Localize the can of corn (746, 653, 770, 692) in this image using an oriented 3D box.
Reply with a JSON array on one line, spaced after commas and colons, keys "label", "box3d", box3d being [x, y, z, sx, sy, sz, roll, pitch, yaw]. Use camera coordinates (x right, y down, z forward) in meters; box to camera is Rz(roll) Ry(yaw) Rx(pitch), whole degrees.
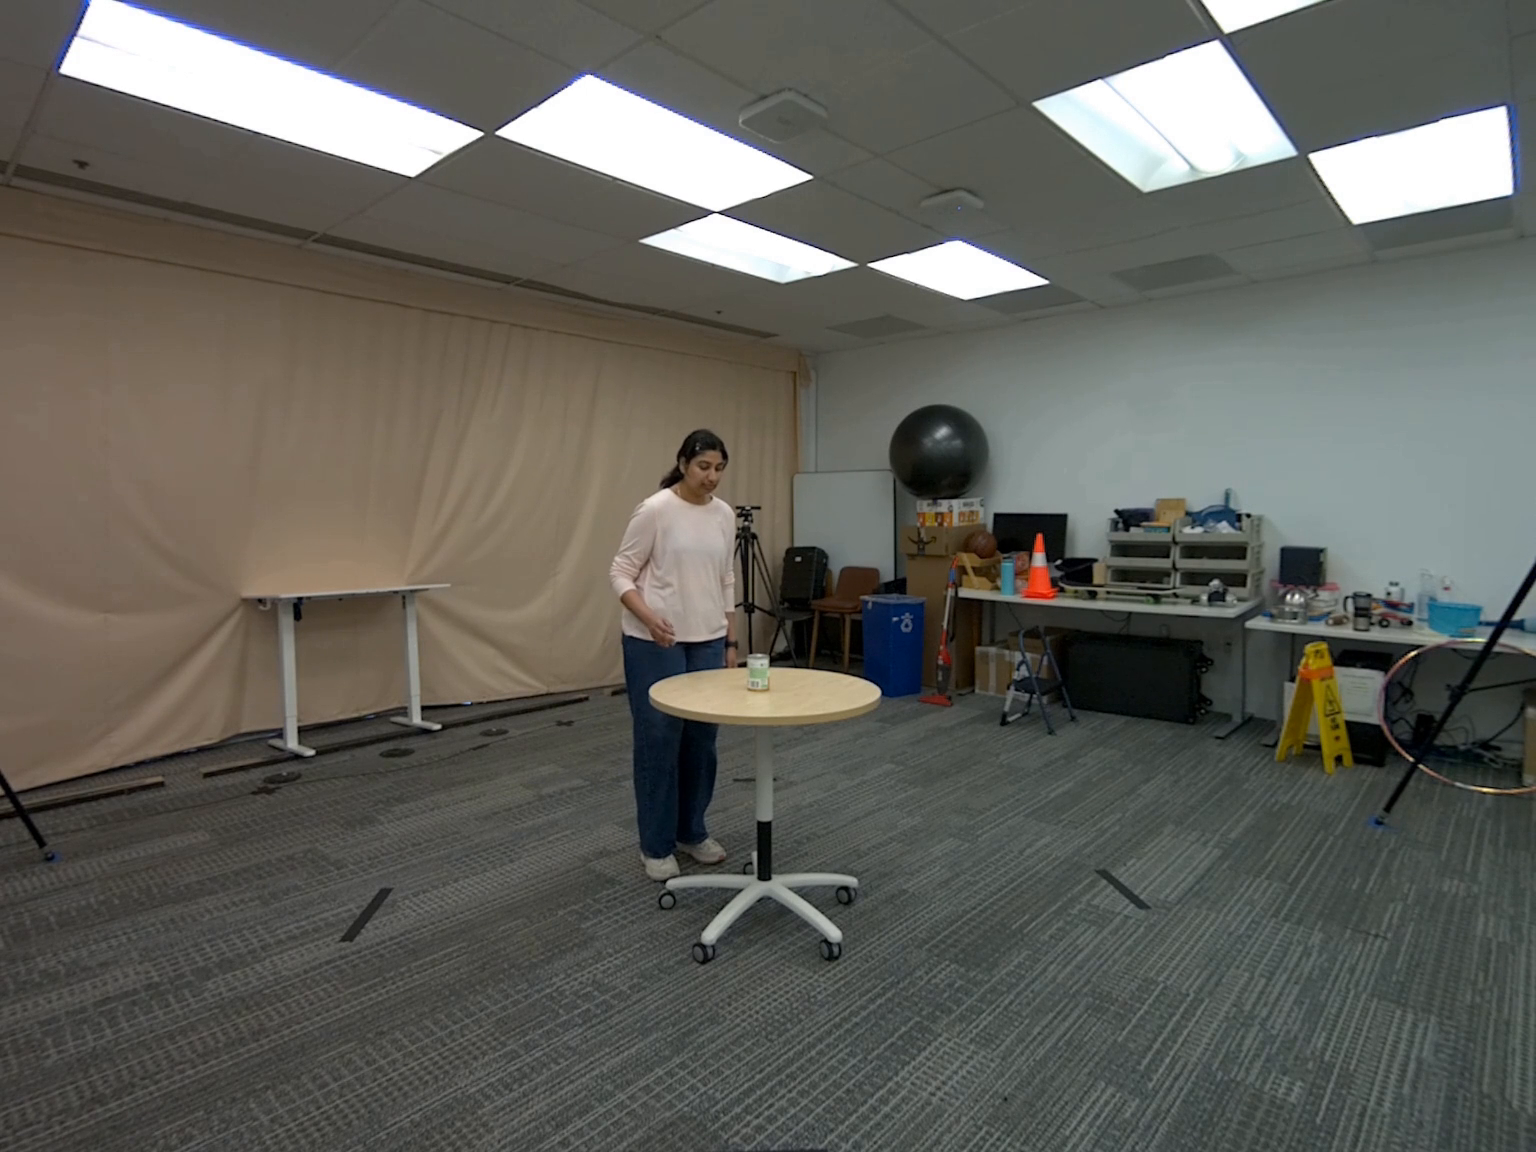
[{"label": "can of corn", "box3d": [-0.028, 0.323, 2.786, 0.074, 0.111, 0.074, 0, 4, -2]}]
